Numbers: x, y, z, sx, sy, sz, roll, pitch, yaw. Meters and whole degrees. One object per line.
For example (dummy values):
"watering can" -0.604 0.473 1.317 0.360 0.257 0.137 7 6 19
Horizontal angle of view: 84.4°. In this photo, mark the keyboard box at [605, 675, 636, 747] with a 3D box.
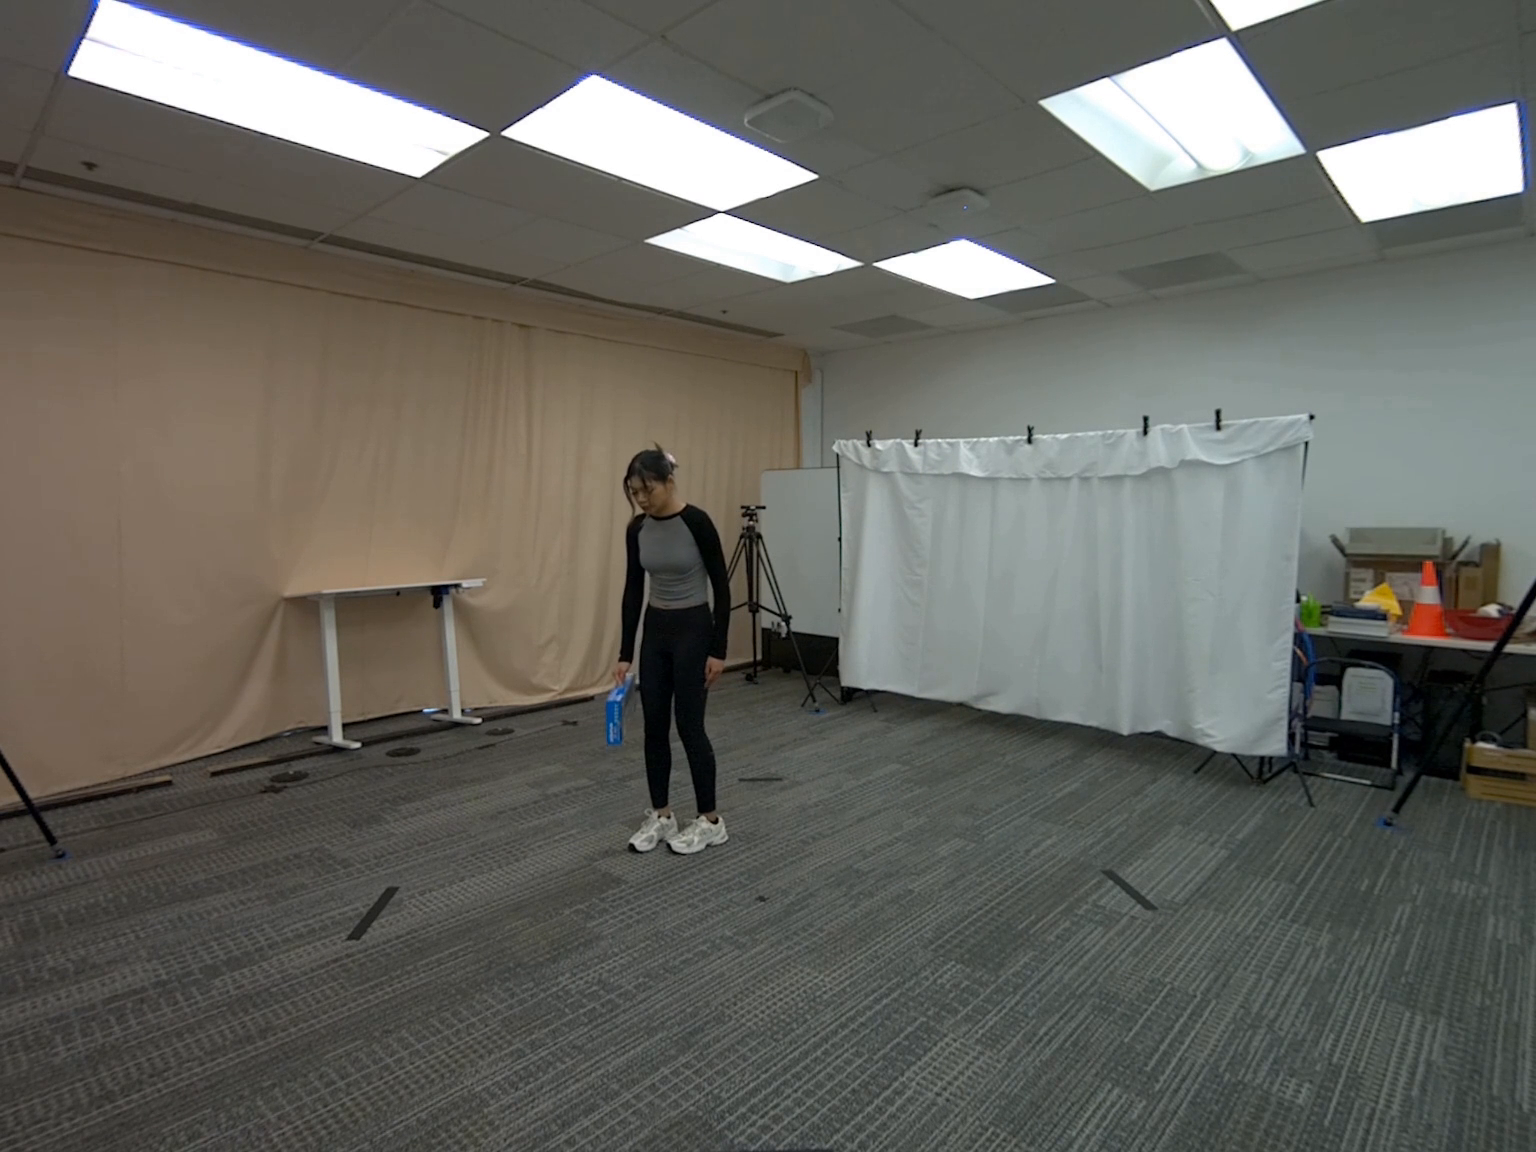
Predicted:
"keyboard box" -0.591 0.535 3.451 0.059 0.175 0.439 0 7 -3
